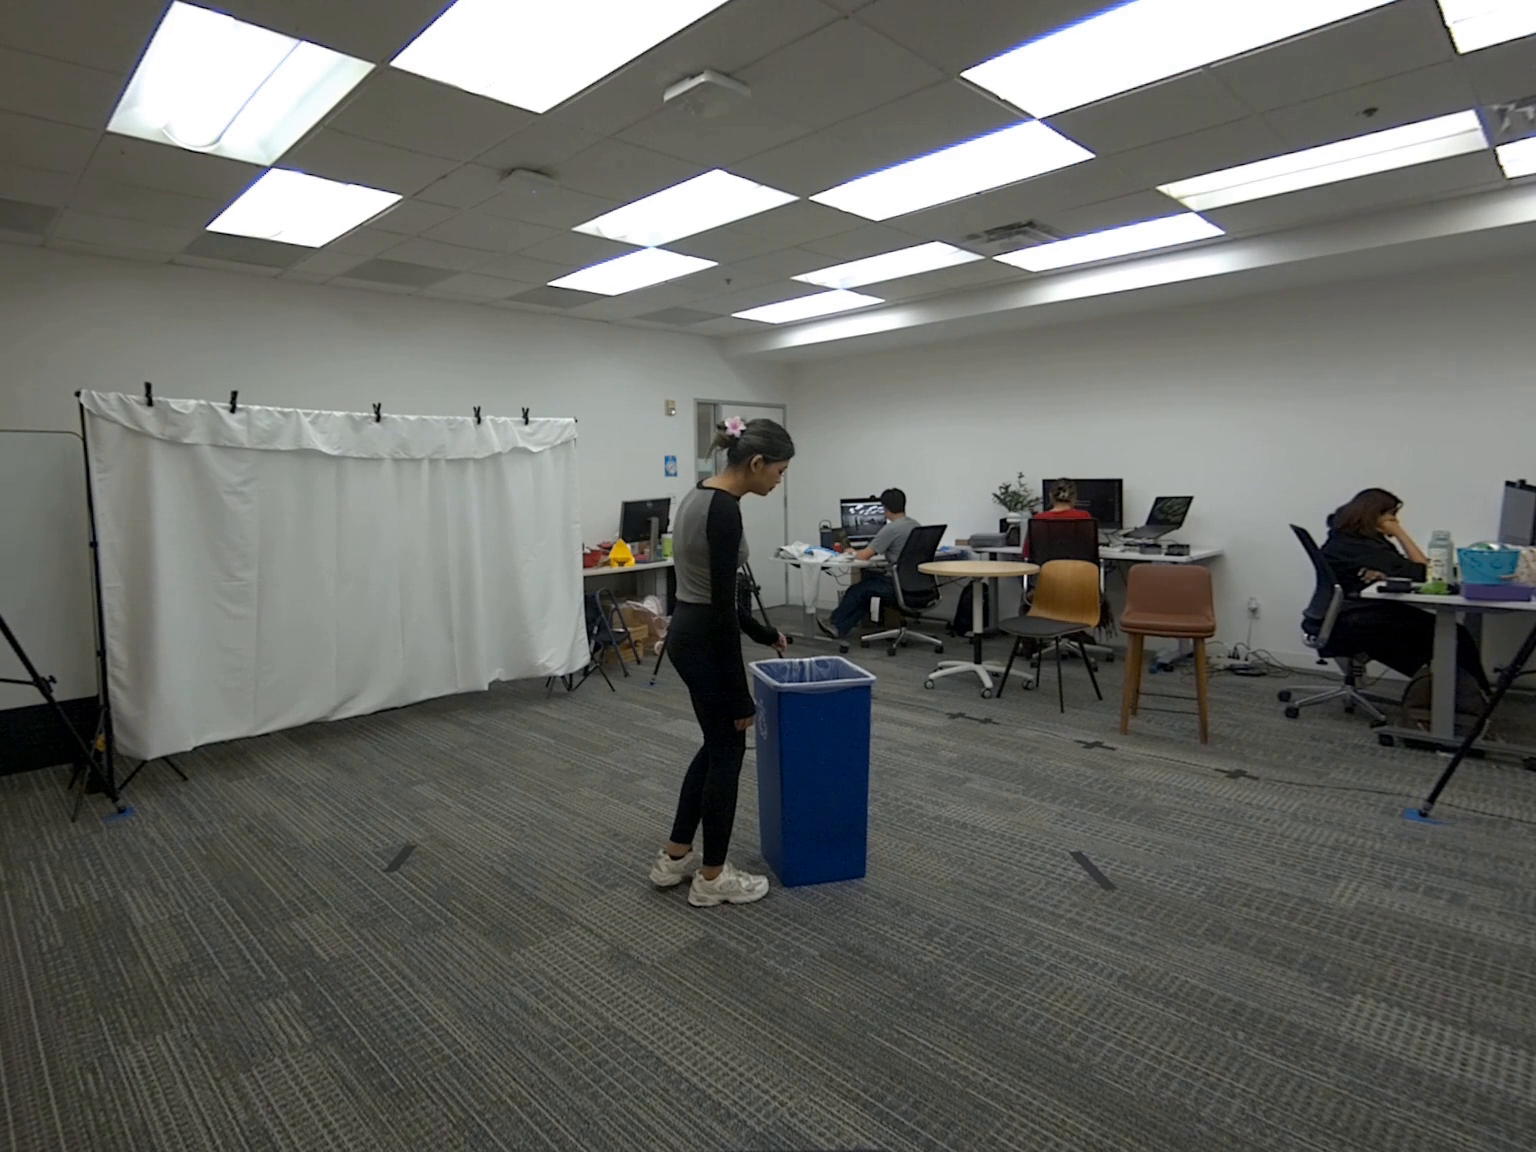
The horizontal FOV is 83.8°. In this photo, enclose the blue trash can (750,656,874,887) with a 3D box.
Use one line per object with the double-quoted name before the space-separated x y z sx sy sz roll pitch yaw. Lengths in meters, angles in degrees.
"blue trash can" 0.161 0.686 3.060 0.373 0.711 0.380 -3 5 -15
